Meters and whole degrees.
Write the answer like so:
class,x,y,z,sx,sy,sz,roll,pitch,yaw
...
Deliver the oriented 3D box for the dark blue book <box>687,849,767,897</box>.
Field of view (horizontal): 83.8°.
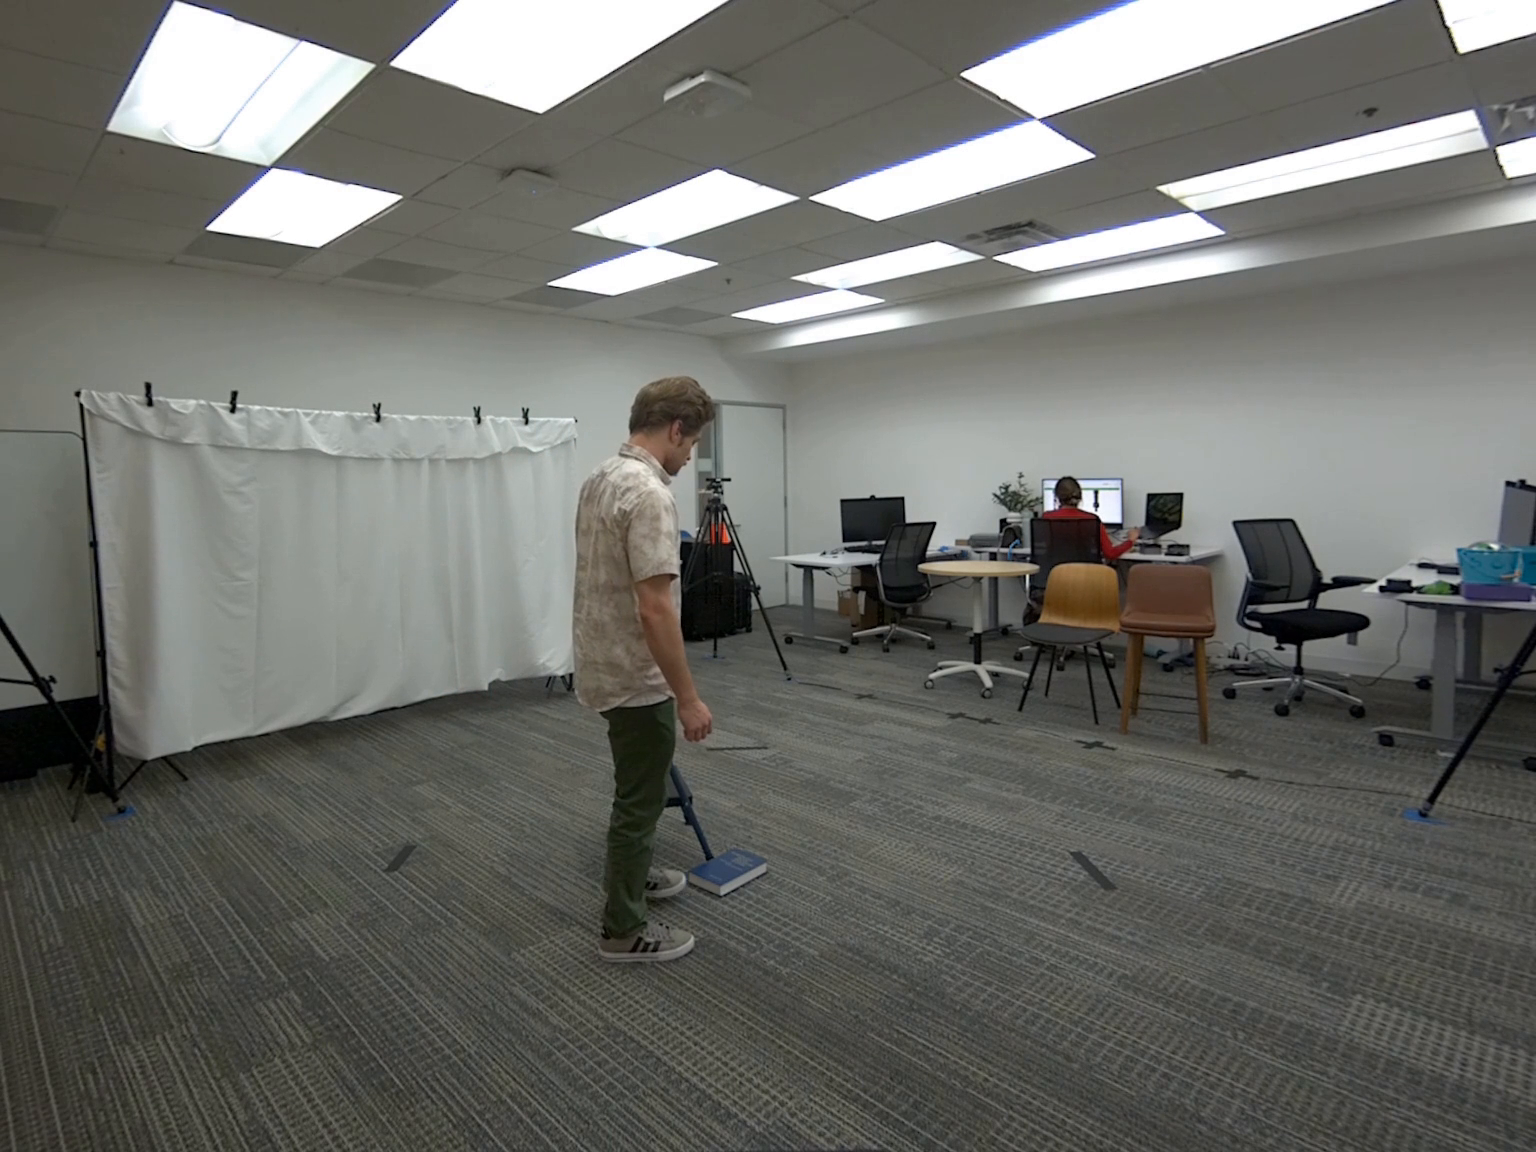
class,x,y,z,sx,sy,sz,roll,pitch,yaw
dark blue book,-0.140,1.031,2.991,0.168,0.045,0.239,5,9,41
